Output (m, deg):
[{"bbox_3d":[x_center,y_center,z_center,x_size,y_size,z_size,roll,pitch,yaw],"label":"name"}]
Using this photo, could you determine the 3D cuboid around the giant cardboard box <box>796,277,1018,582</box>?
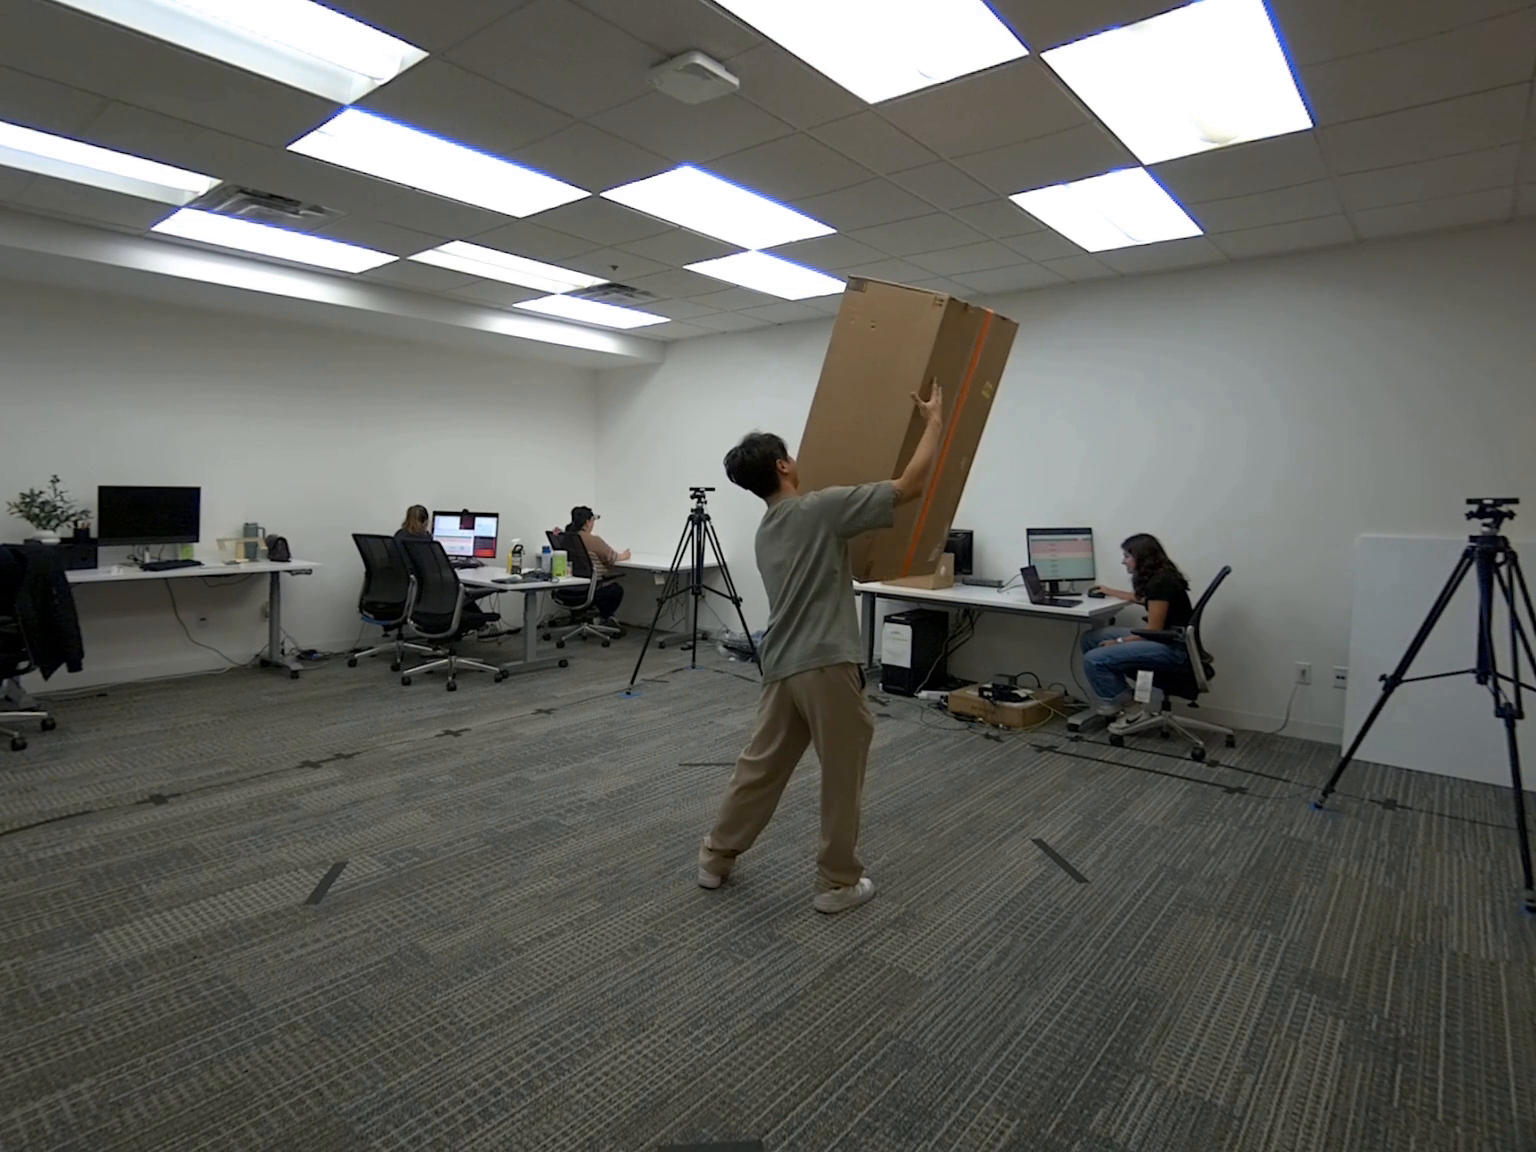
[{"bbox_3d":[0.474,-0.542,3.222,0.443,1.016,0.560,27,19,36],"label":"giant cardboard box"}]
